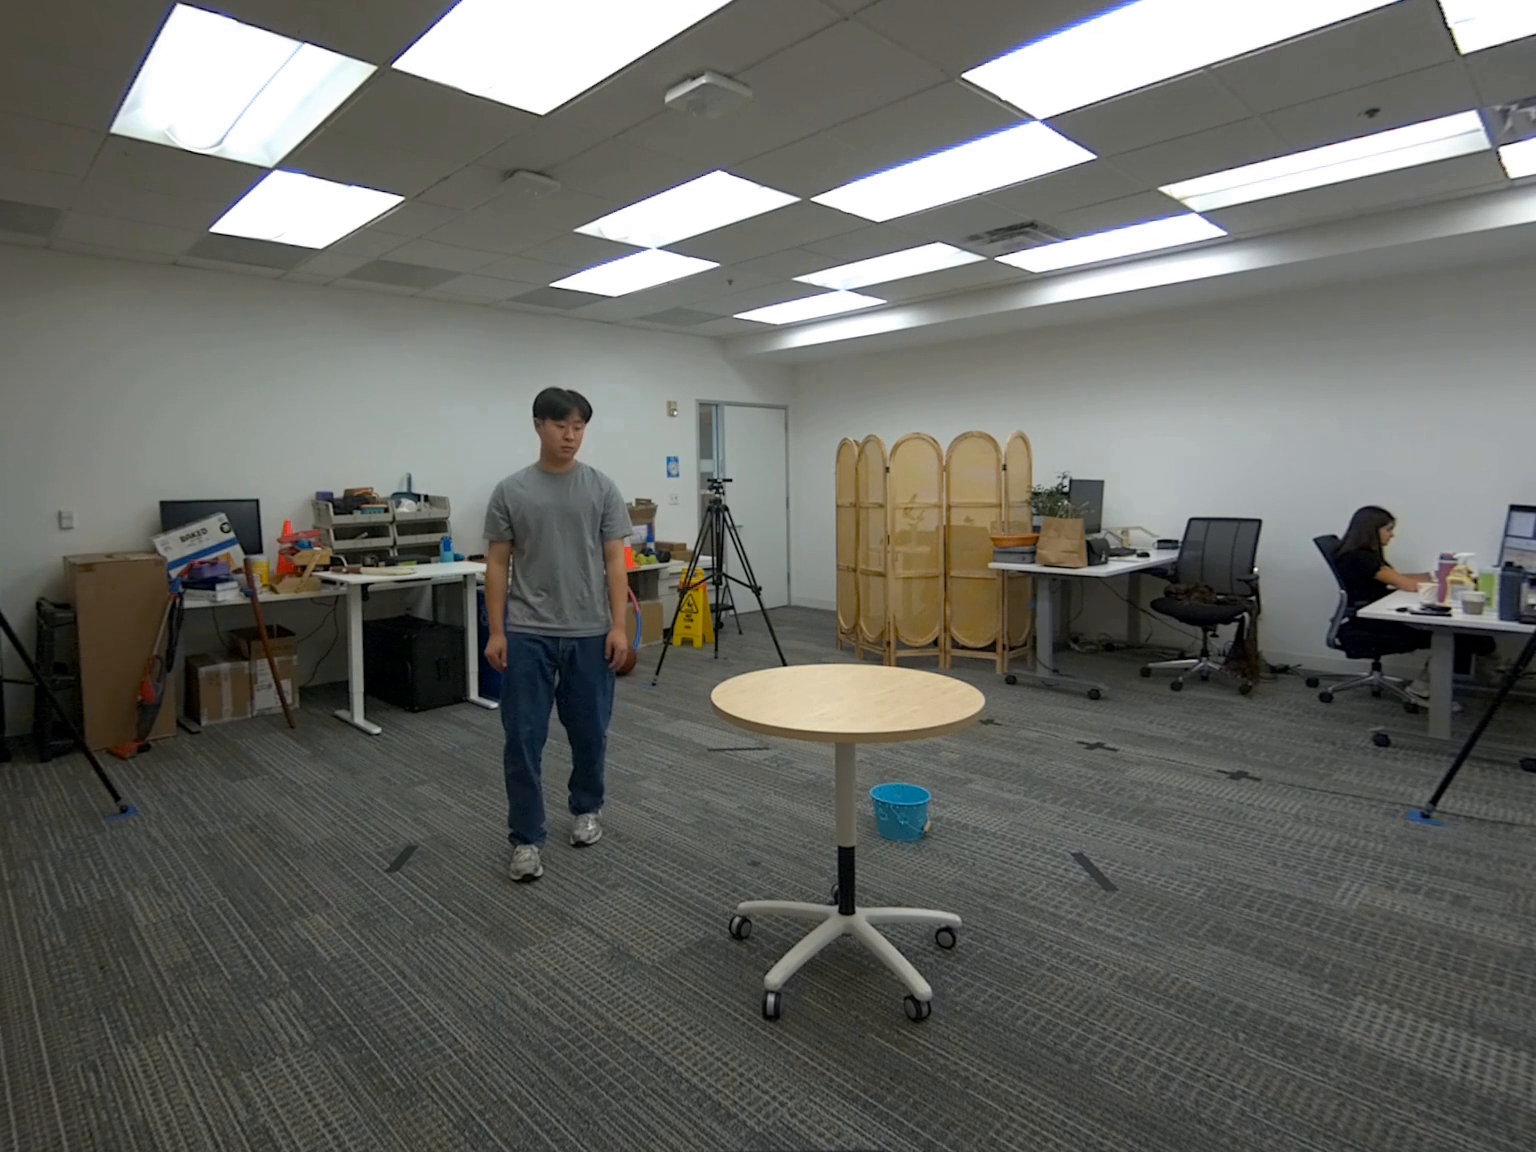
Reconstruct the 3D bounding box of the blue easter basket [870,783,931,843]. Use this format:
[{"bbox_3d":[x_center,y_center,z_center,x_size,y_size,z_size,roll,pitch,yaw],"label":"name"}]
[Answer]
[{"bbox_3d":[0.527,0.929,3.354,0.243,0.155,0.245,-2,5,-2],"label":"blue easter basket"}]
